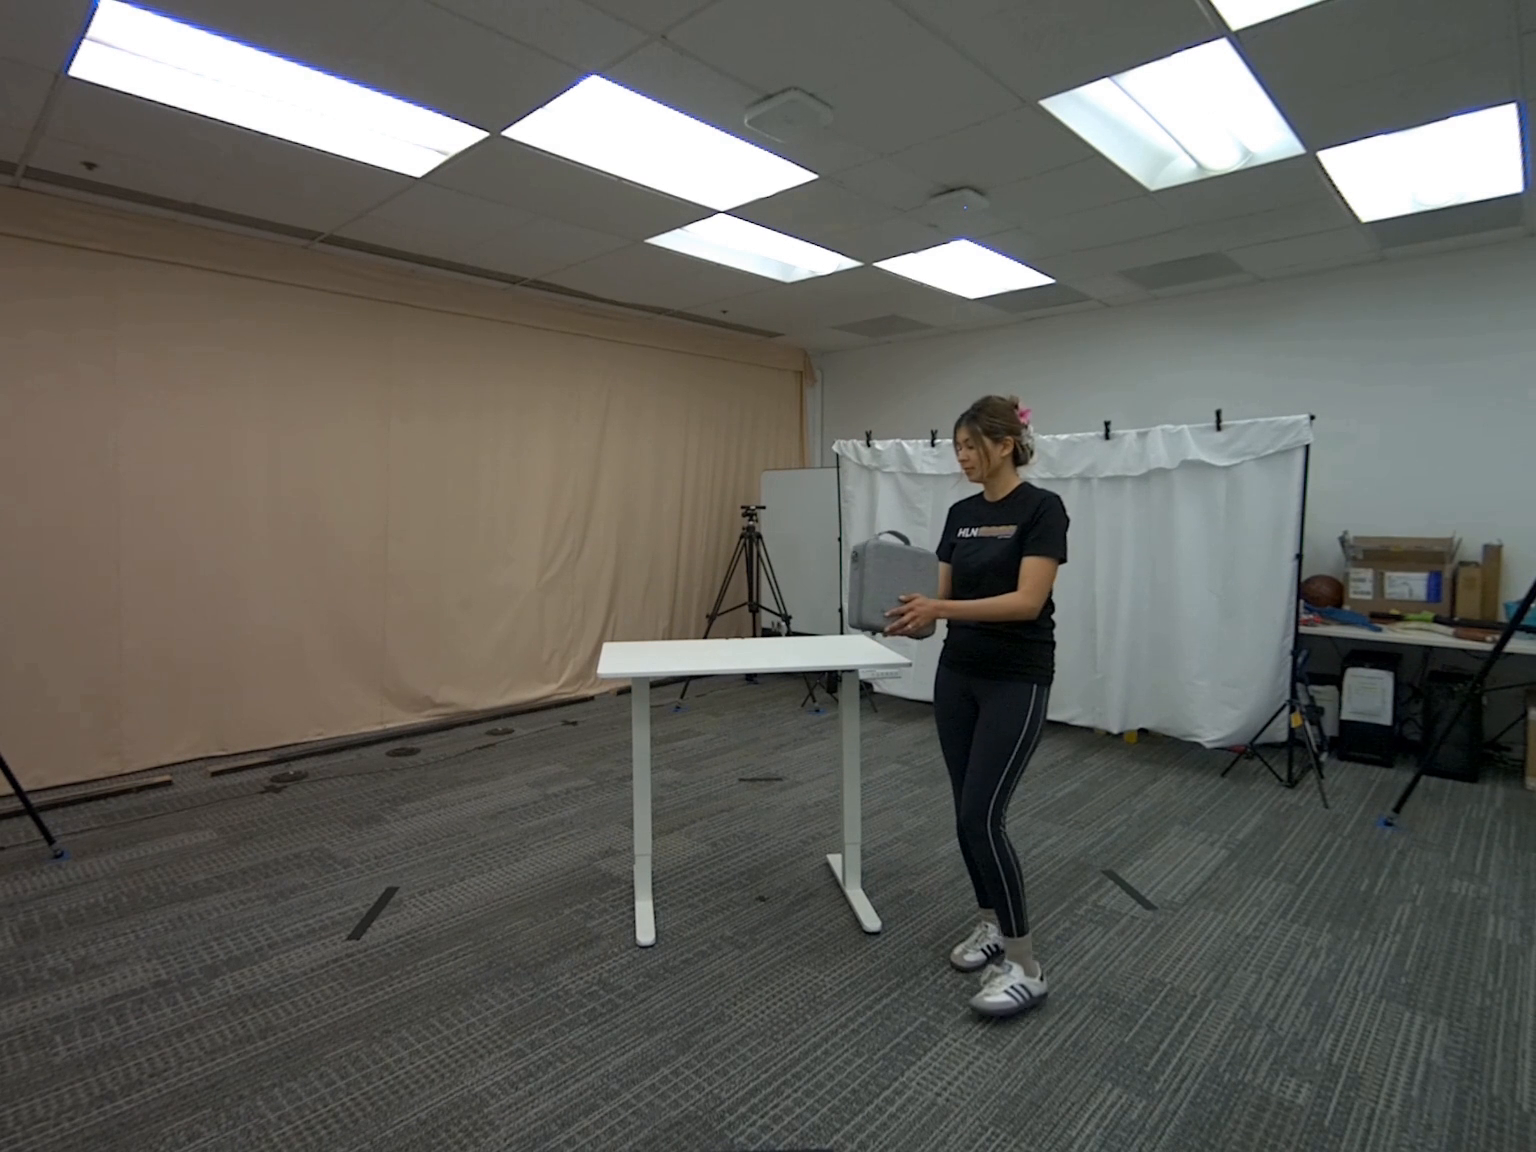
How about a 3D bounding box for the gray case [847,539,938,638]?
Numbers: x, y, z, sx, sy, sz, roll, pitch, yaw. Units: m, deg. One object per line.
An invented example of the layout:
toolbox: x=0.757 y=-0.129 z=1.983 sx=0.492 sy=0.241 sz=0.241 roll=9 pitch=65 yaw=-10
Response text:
gray case: x=0.360 y=0.036 z=2.374 sx=0.250 sy=0.262 sz=0.106 roll=10 pitch=-12 yaw=-26
